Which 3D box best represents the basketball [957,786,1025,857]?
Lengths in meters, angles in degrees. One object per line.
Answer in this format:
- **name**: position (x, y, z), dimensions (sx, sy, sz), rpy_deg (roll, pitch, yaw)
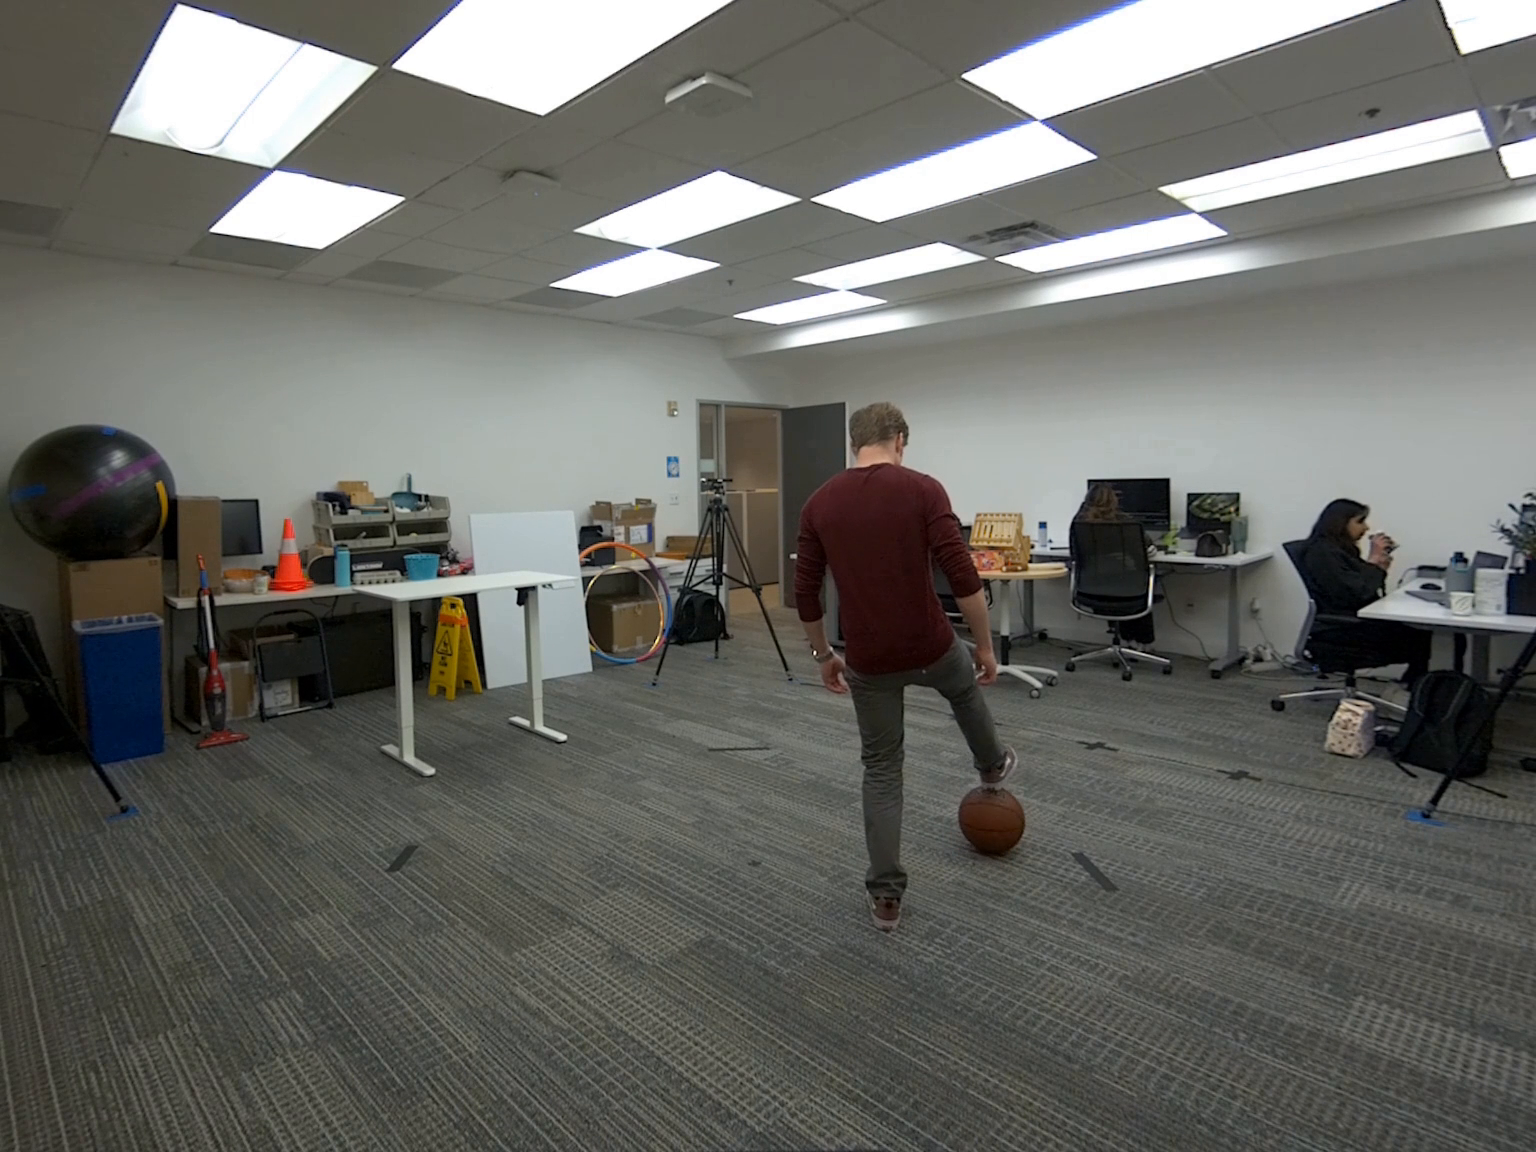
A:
- **basketball**: position (0.838, 0.906, 3.181), dimensions (0.236, 0.235, 0.237), rpy_deg (-1, 5, -2)
